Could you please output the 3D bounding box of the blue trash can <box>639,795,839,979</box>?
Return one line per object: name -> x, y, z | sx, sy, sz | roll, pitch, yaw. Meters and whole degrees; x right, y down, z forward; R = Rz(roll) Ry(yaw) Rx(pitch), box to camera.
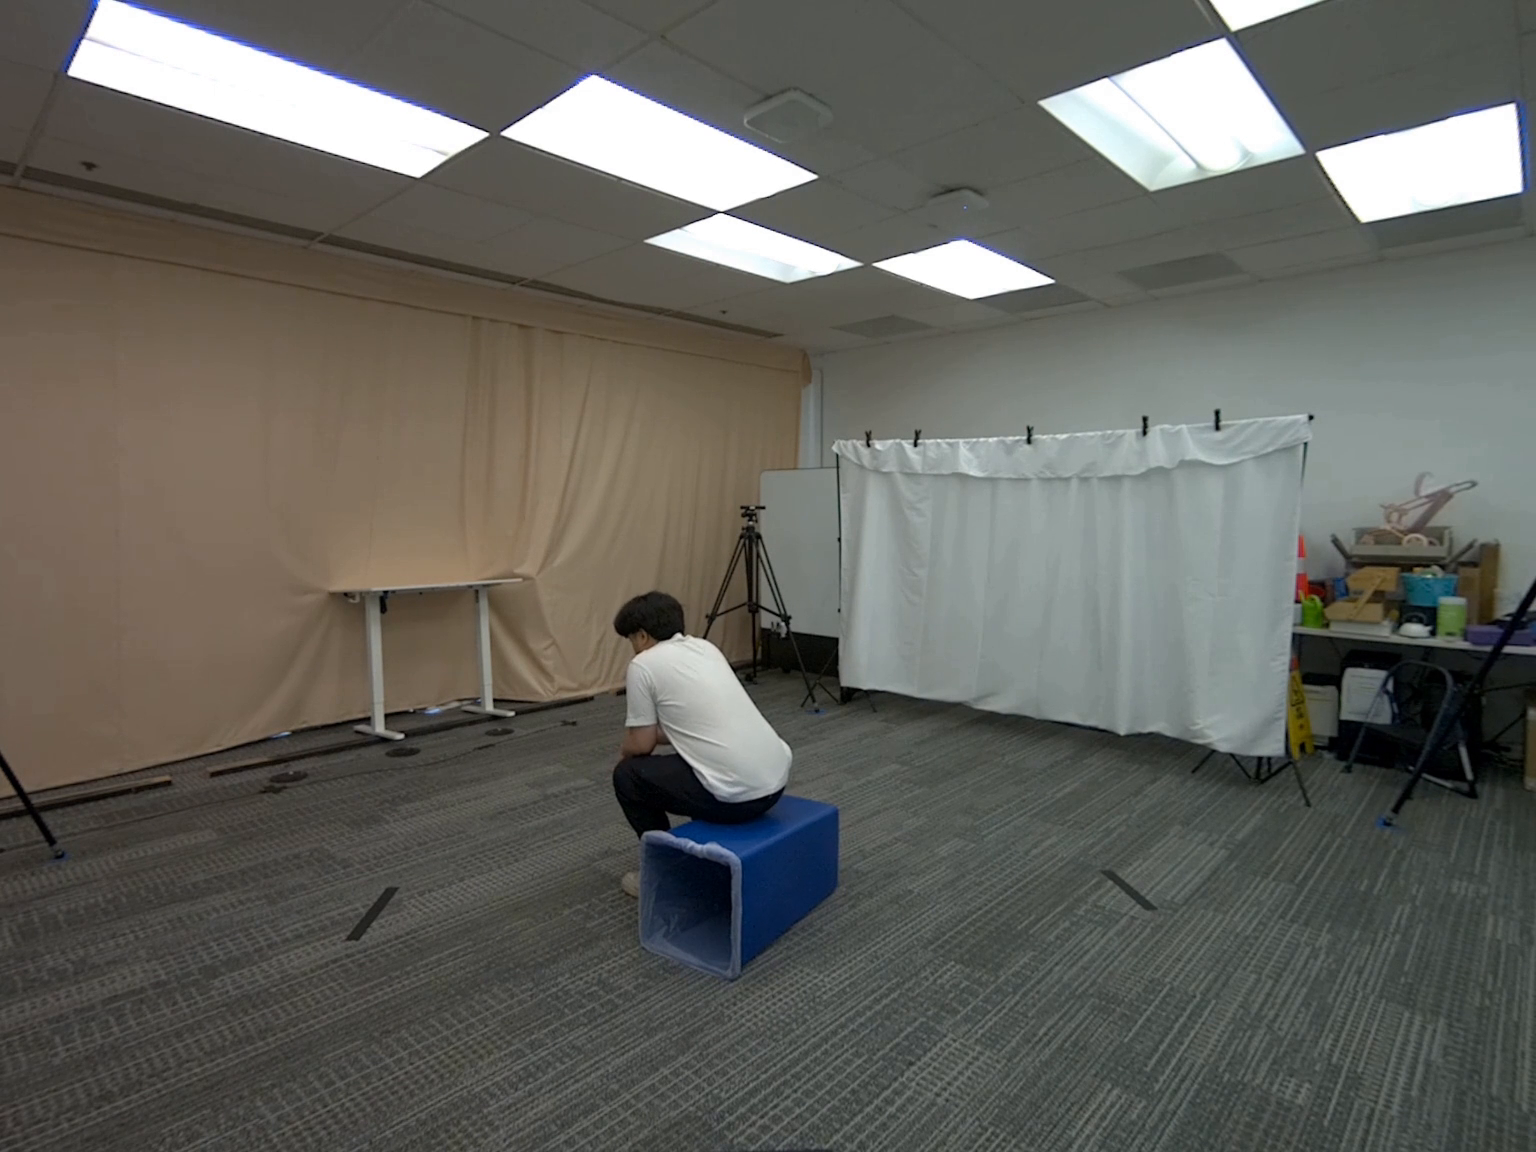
blue trash can -> -0.055, 0.990, 2.840 | 0.389, 0.374, 0.692 | 1, 0, 34
